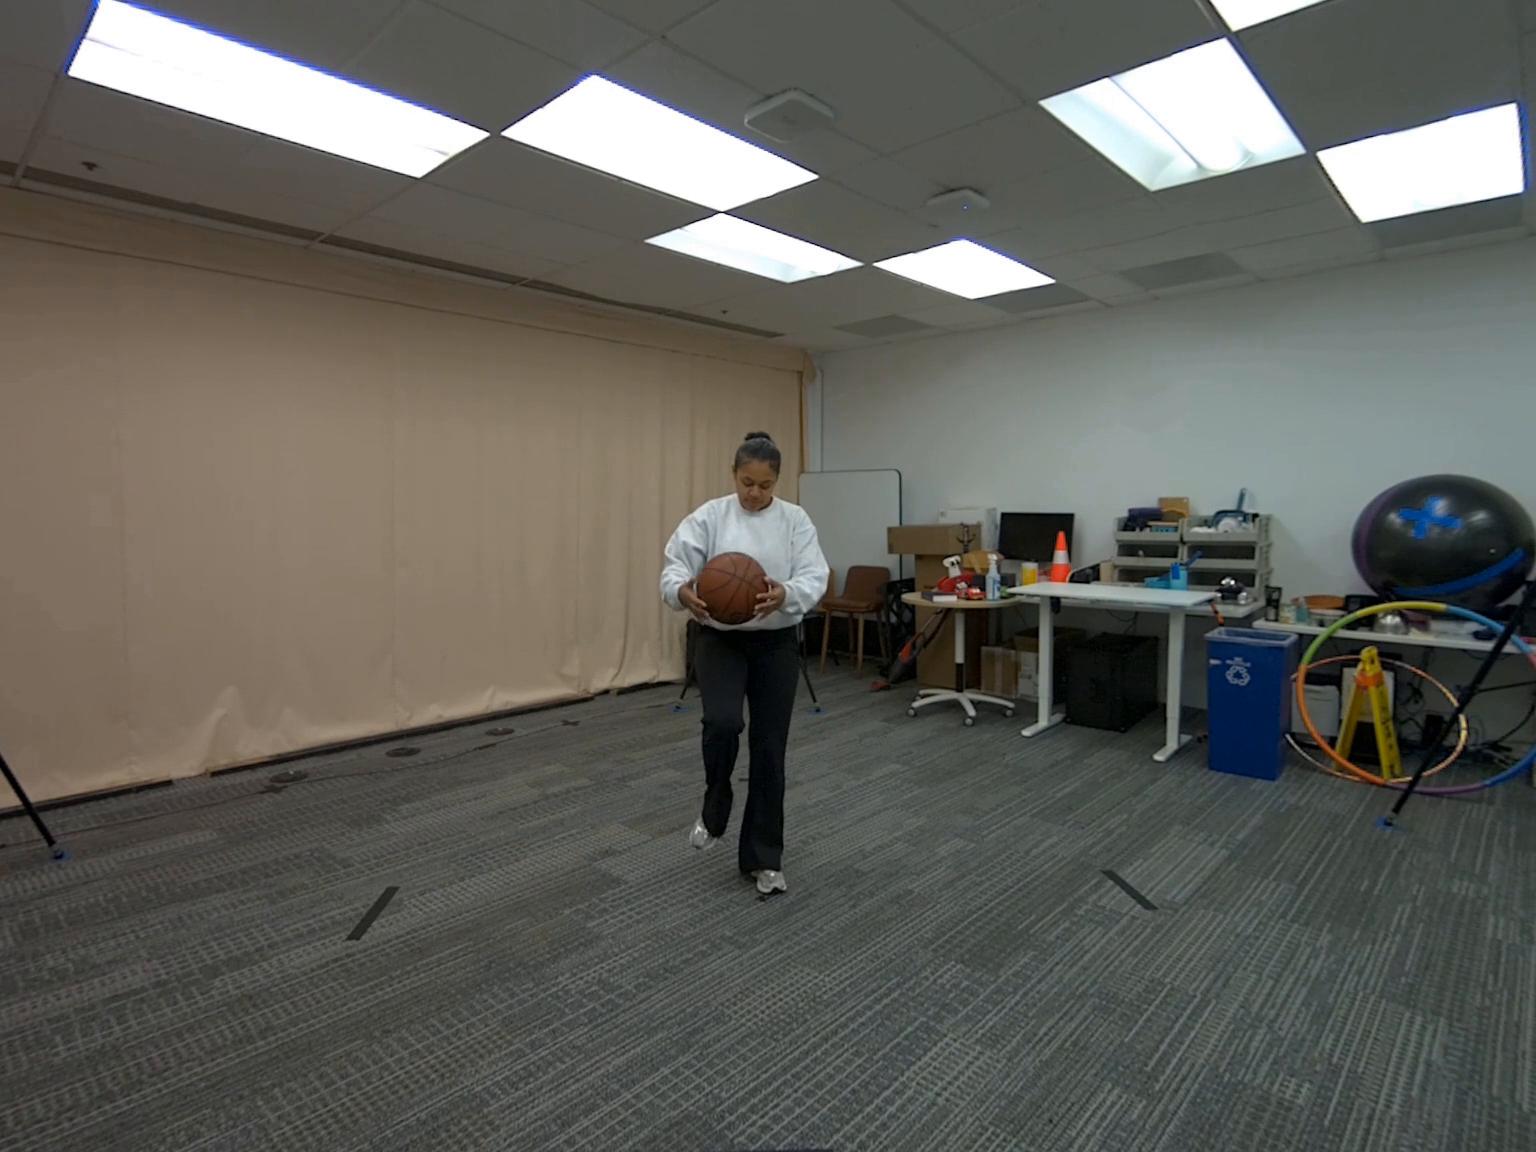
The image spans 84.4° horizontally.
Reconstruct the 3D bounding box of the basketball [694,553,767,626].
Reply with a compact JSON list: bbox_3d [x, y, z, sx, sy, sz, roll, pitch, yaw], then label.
[{"bbox_3d":[-0.122,0.063,2.753,0.236,0.235,0.237,0,4,-2],"label":"basketball"}]
